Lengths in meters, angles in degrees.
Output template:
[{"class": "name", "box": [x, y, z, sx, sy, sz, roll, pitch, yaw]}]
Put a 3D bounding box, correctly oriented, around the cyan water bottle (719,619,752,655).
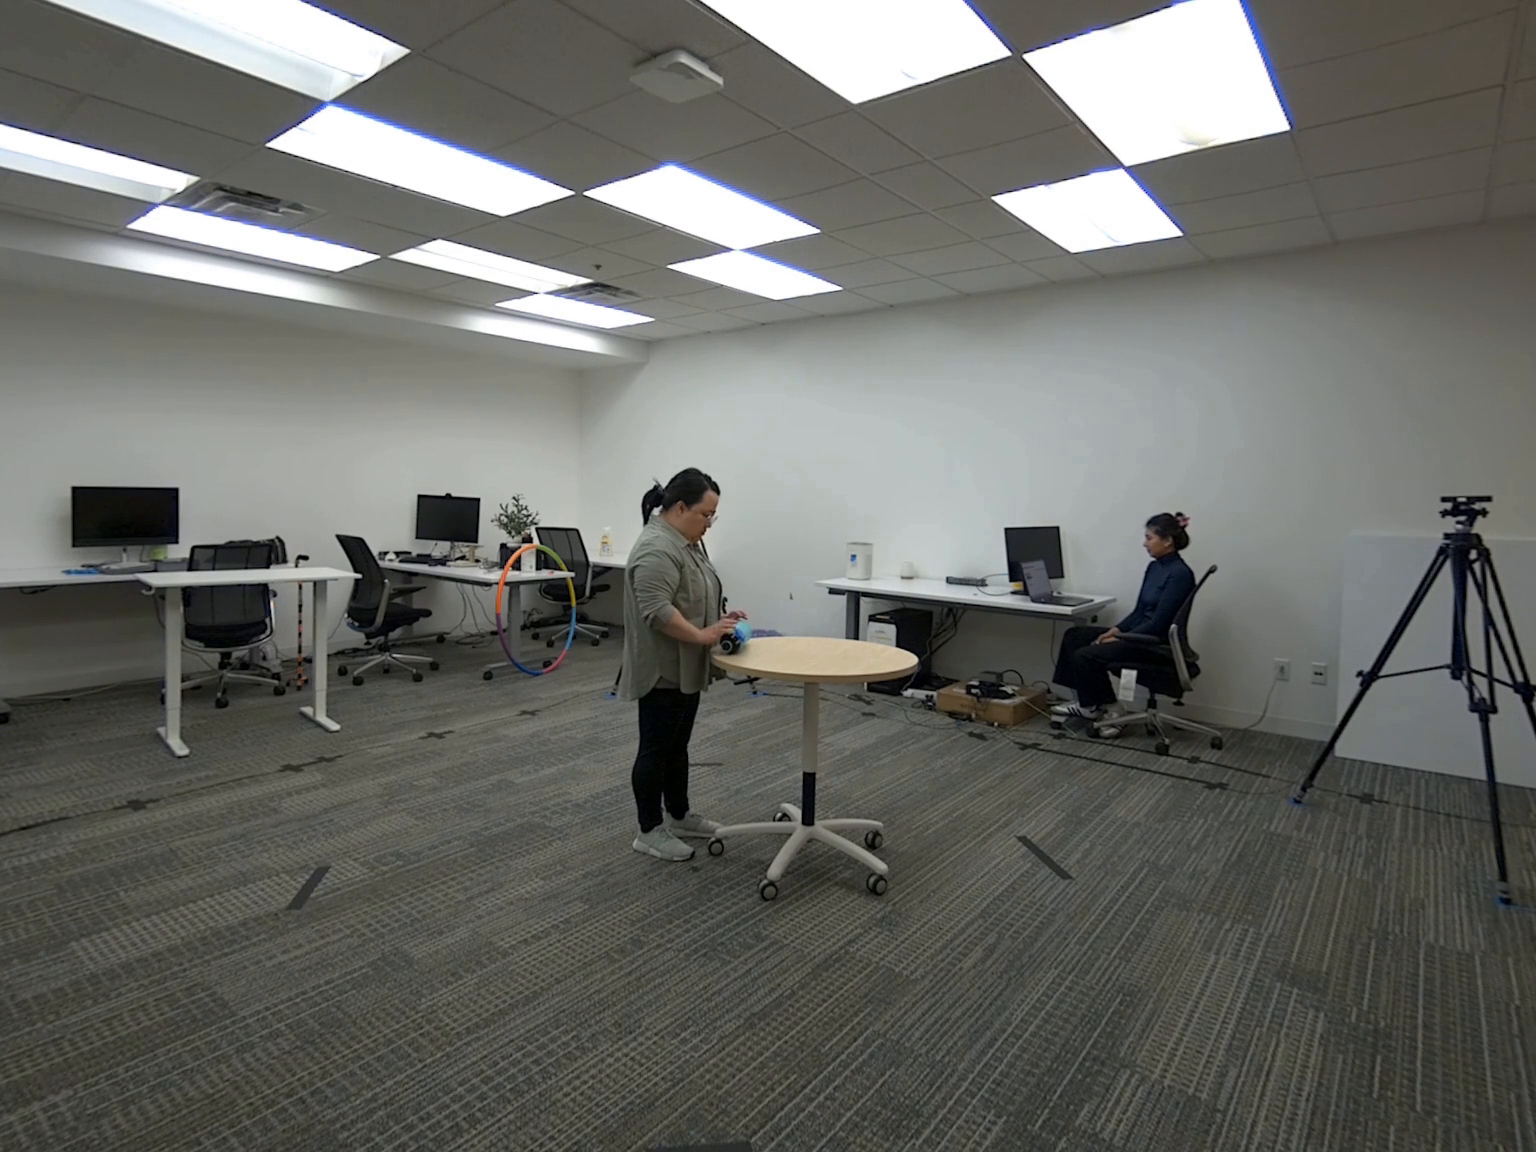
[{"class": "cyan water bottle", "box": [-0.135, 0.232, 3.221, 0.093, 0.092, 0.282, 1, 5, 6]}]
